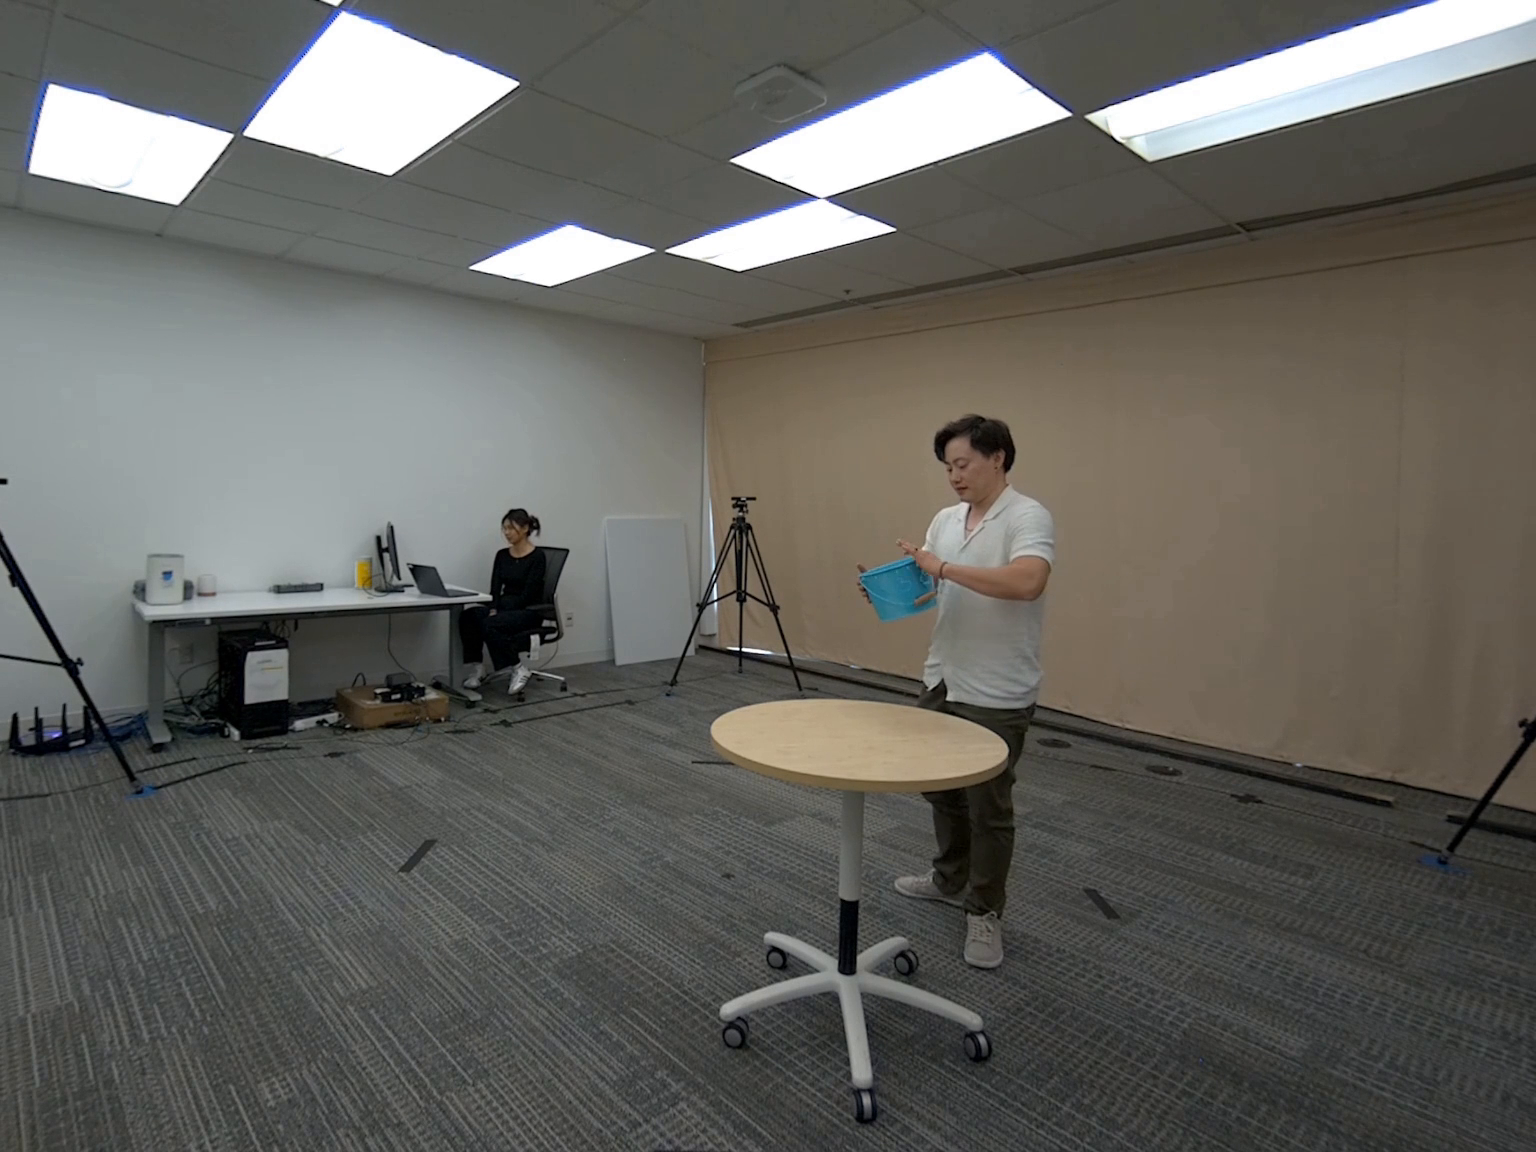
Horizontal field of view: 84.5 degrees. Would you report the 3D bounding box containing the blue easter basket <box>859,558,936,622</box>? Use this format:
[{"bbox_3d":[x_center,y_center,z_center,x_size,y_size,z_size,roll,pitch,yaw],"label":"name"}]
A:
[{"bbox_3d":[0.422,0.053,2.565,0.243,0.156,0.243,-15,-2,-2],"label":"blue easter basket"}]
